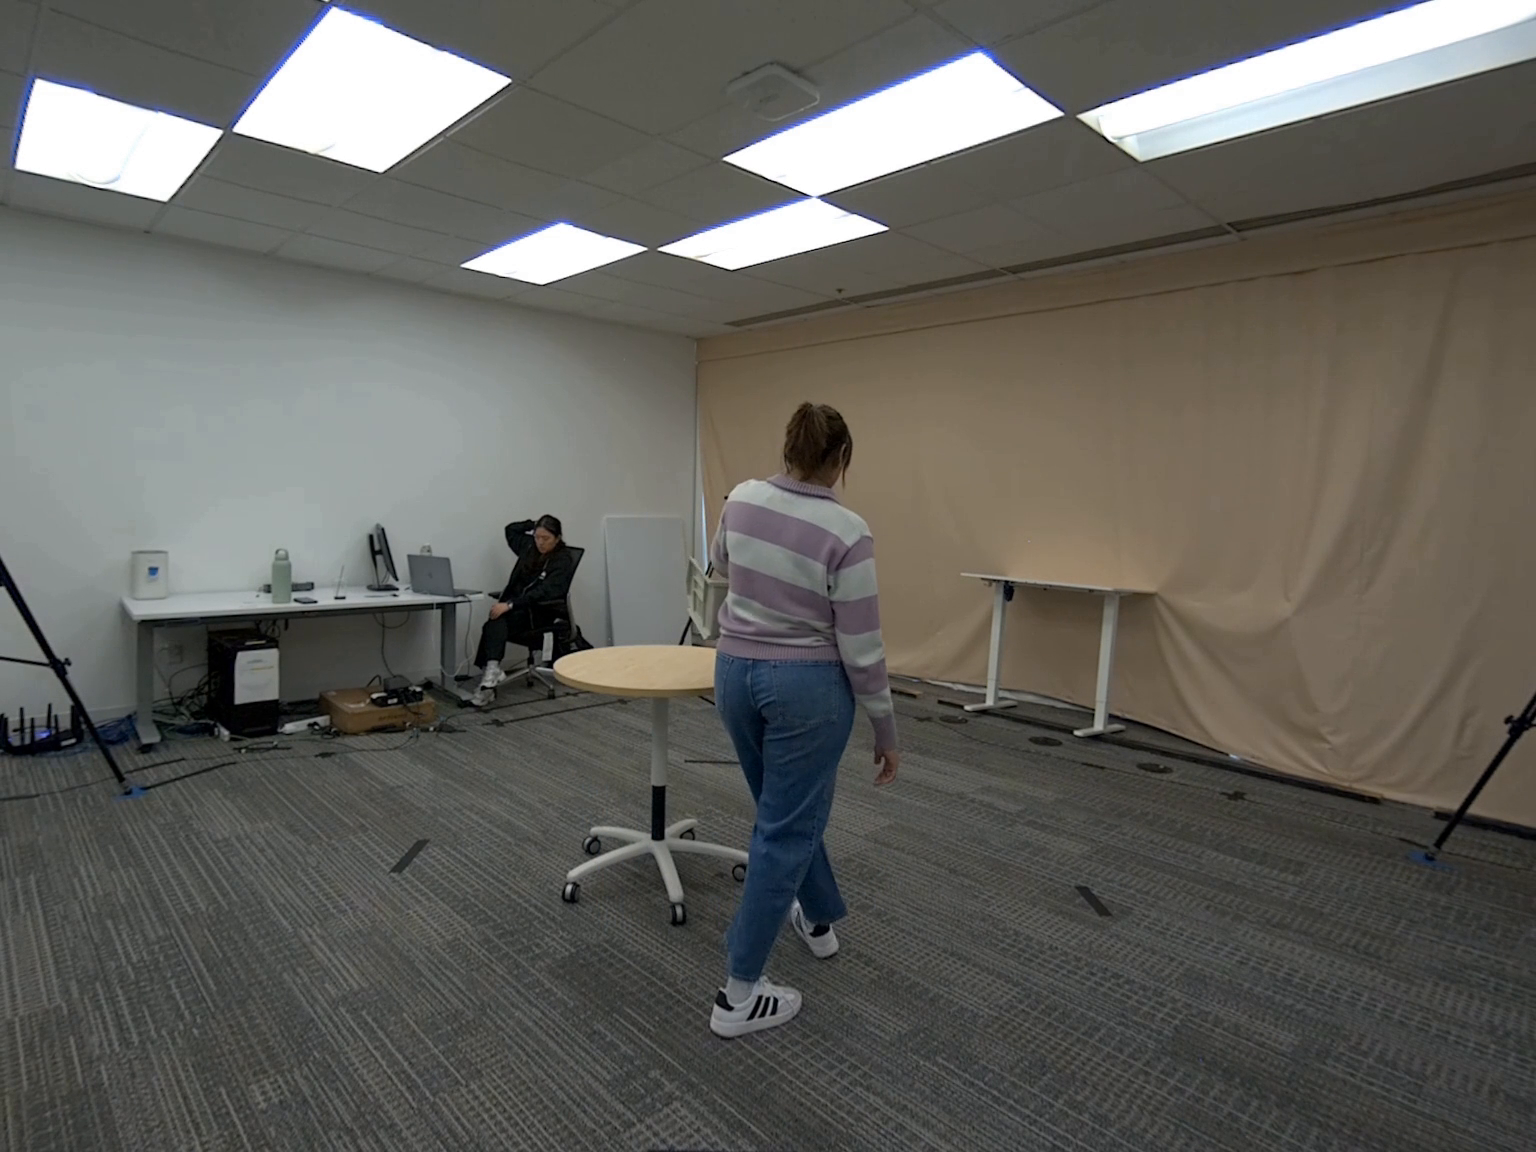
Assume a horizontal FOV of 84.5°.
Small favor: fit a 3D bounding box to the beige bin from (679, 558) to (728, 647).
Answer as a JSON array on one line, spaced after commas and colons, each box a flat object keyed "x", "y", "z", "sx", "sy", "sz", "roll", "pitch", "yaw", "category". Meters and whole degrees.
[{"x": -0.026, "y": 0.072, "z": 2.638, "sx": 0.417, "sy": 0.187, "sz": 0.385, "roll": 2, "pitch": 14, "yaw": -14, "category": "beige bin"}]
